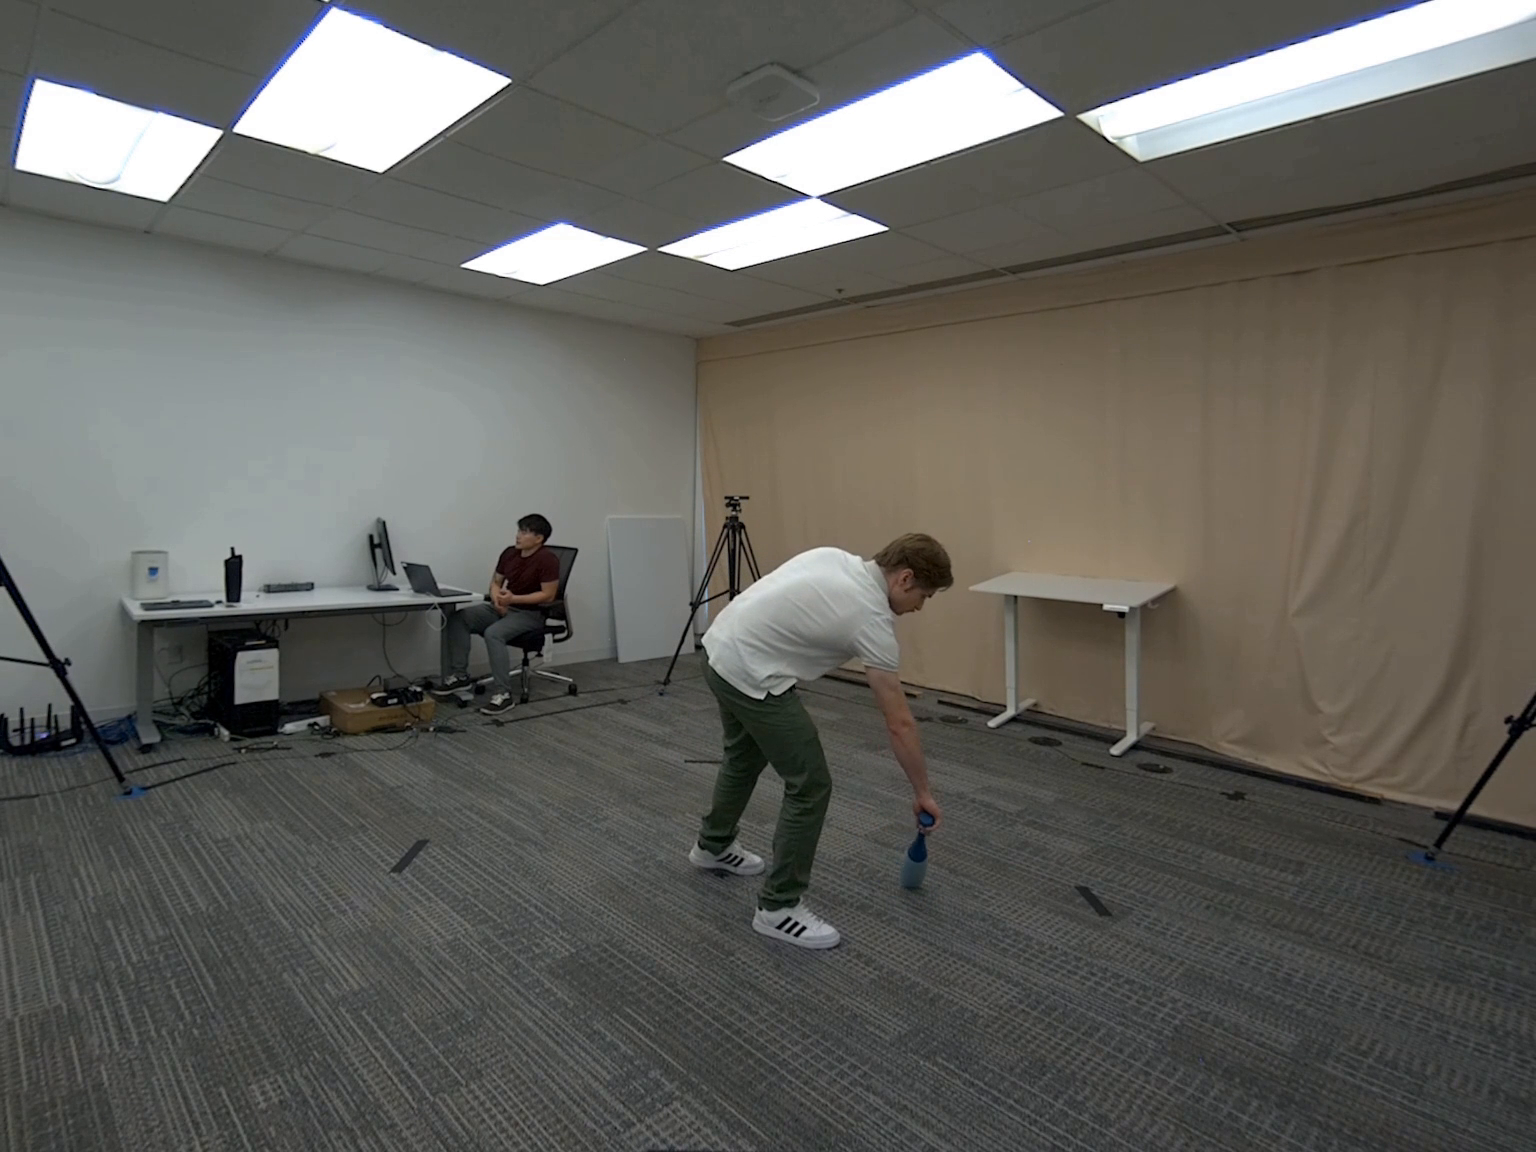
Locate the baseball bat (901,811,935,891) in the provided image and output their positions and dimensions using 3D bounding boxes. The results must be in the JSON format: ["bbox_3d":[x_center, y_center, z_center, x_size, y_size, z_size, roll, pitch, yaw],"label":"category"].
[{"bbox_3d":[0.498,0.935,2.859,0.089,0.091,0.530,2,-39,5],"label":"baseball bat"}]
